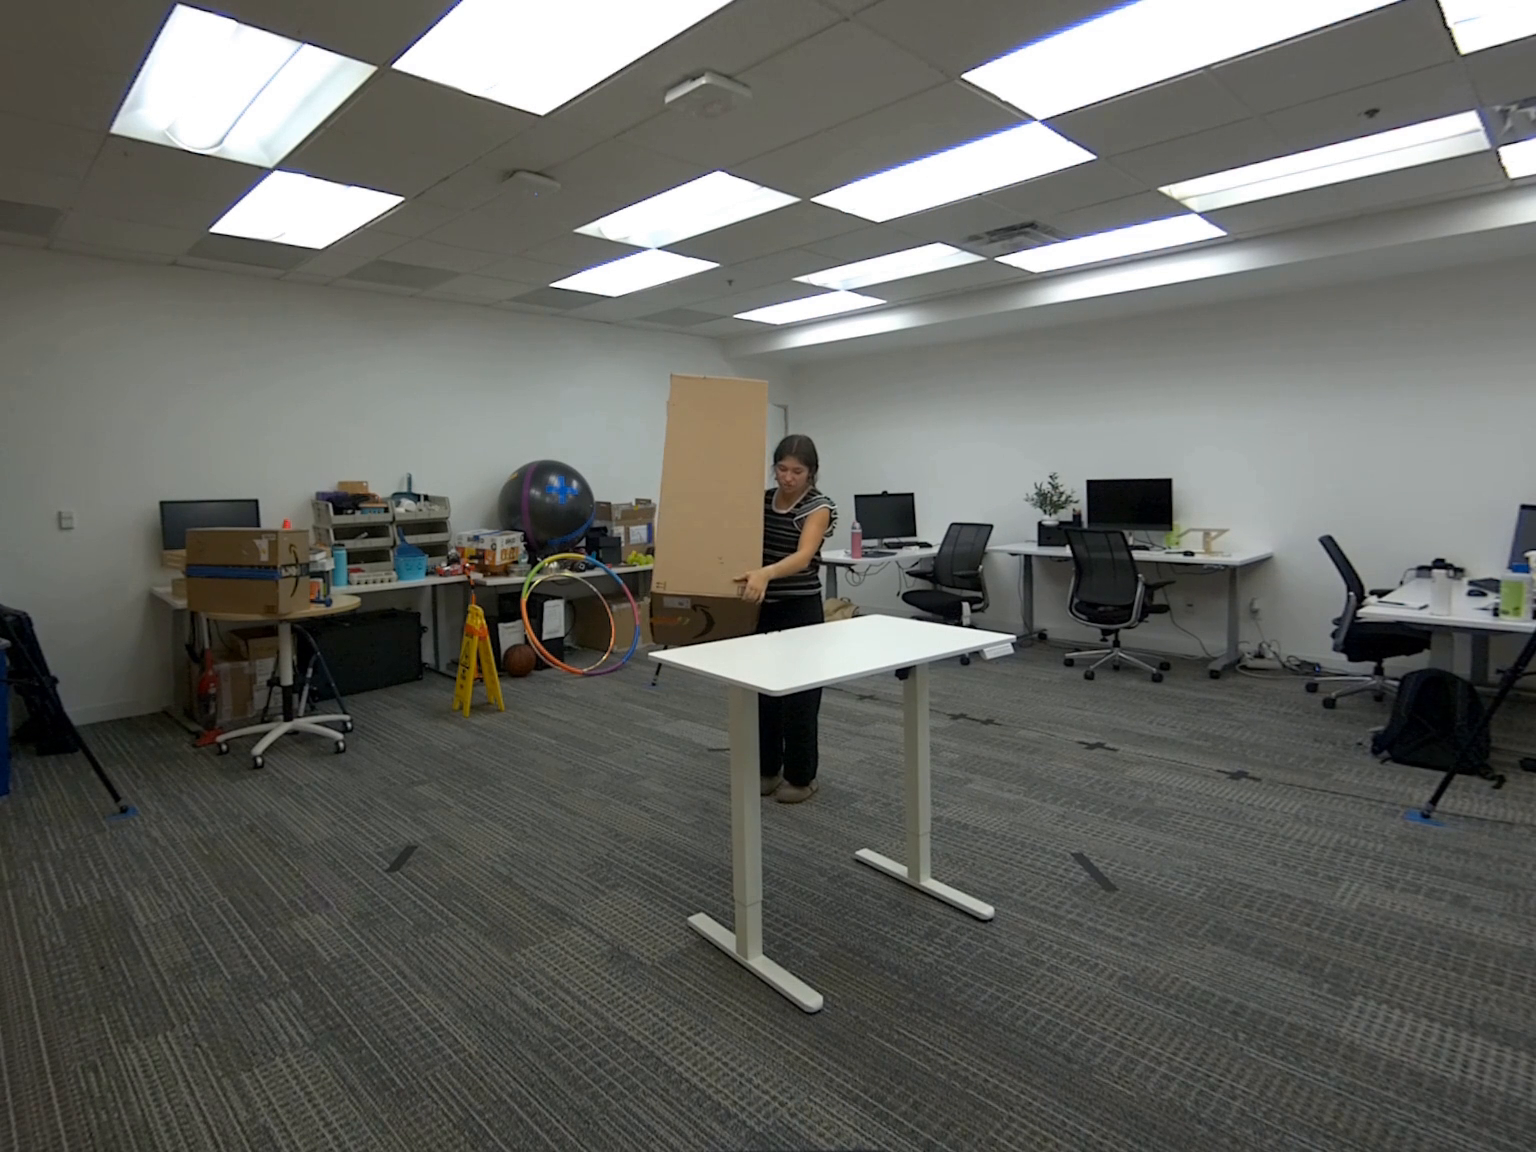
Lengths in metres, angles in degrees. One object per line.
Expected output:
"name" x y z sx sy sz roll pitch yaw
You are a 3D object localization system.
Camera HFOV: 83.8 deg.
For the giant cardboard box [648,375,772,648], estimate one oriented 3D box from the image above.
"giant cardboard box" -0.252 -0.272 3.701 0.425 1.047 0.566 3 -27 -3
